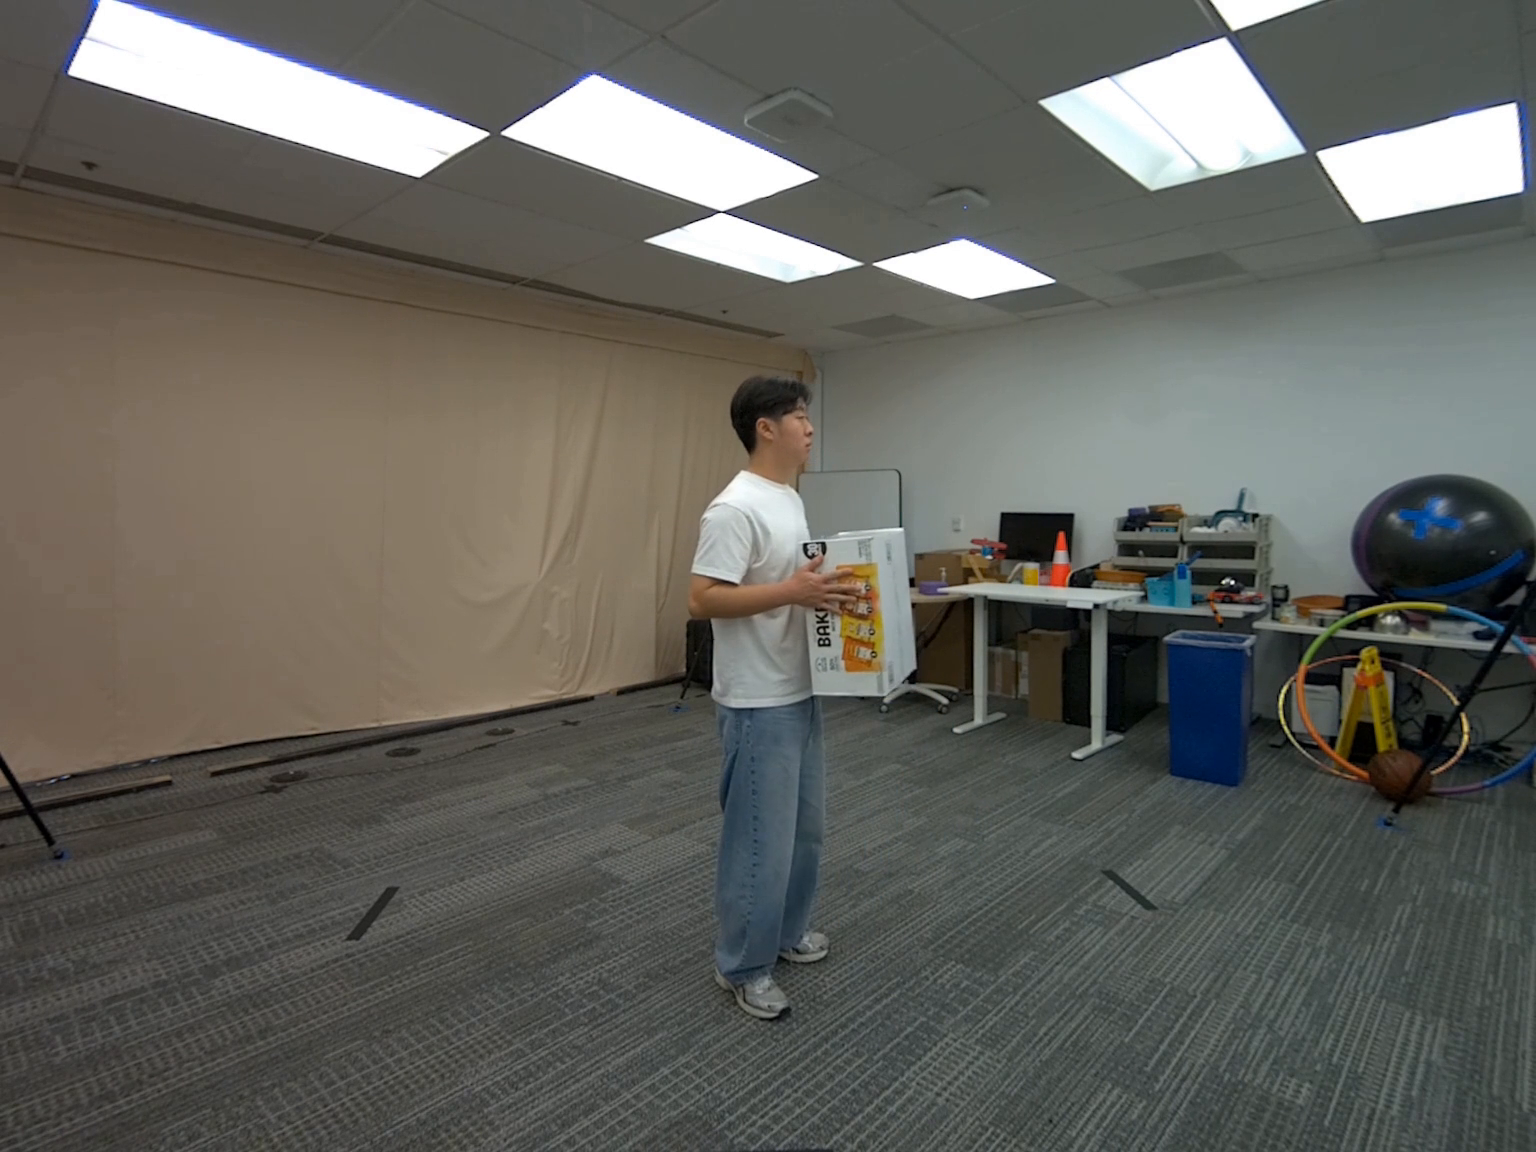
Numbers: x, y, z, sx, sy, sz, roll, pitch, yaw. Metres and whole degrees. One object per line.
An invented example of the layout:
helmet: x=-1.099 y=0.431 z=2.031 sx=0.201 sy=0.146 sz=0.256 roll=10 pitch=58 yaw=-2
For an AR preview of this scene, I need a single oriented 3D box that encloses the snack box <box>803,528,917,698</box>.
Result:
snack box: x=0.265 y=0.093 z=2.299 sx=0.210 sy=0.404 sz=0.333 roll=-4 pitch=3 yaw=22
